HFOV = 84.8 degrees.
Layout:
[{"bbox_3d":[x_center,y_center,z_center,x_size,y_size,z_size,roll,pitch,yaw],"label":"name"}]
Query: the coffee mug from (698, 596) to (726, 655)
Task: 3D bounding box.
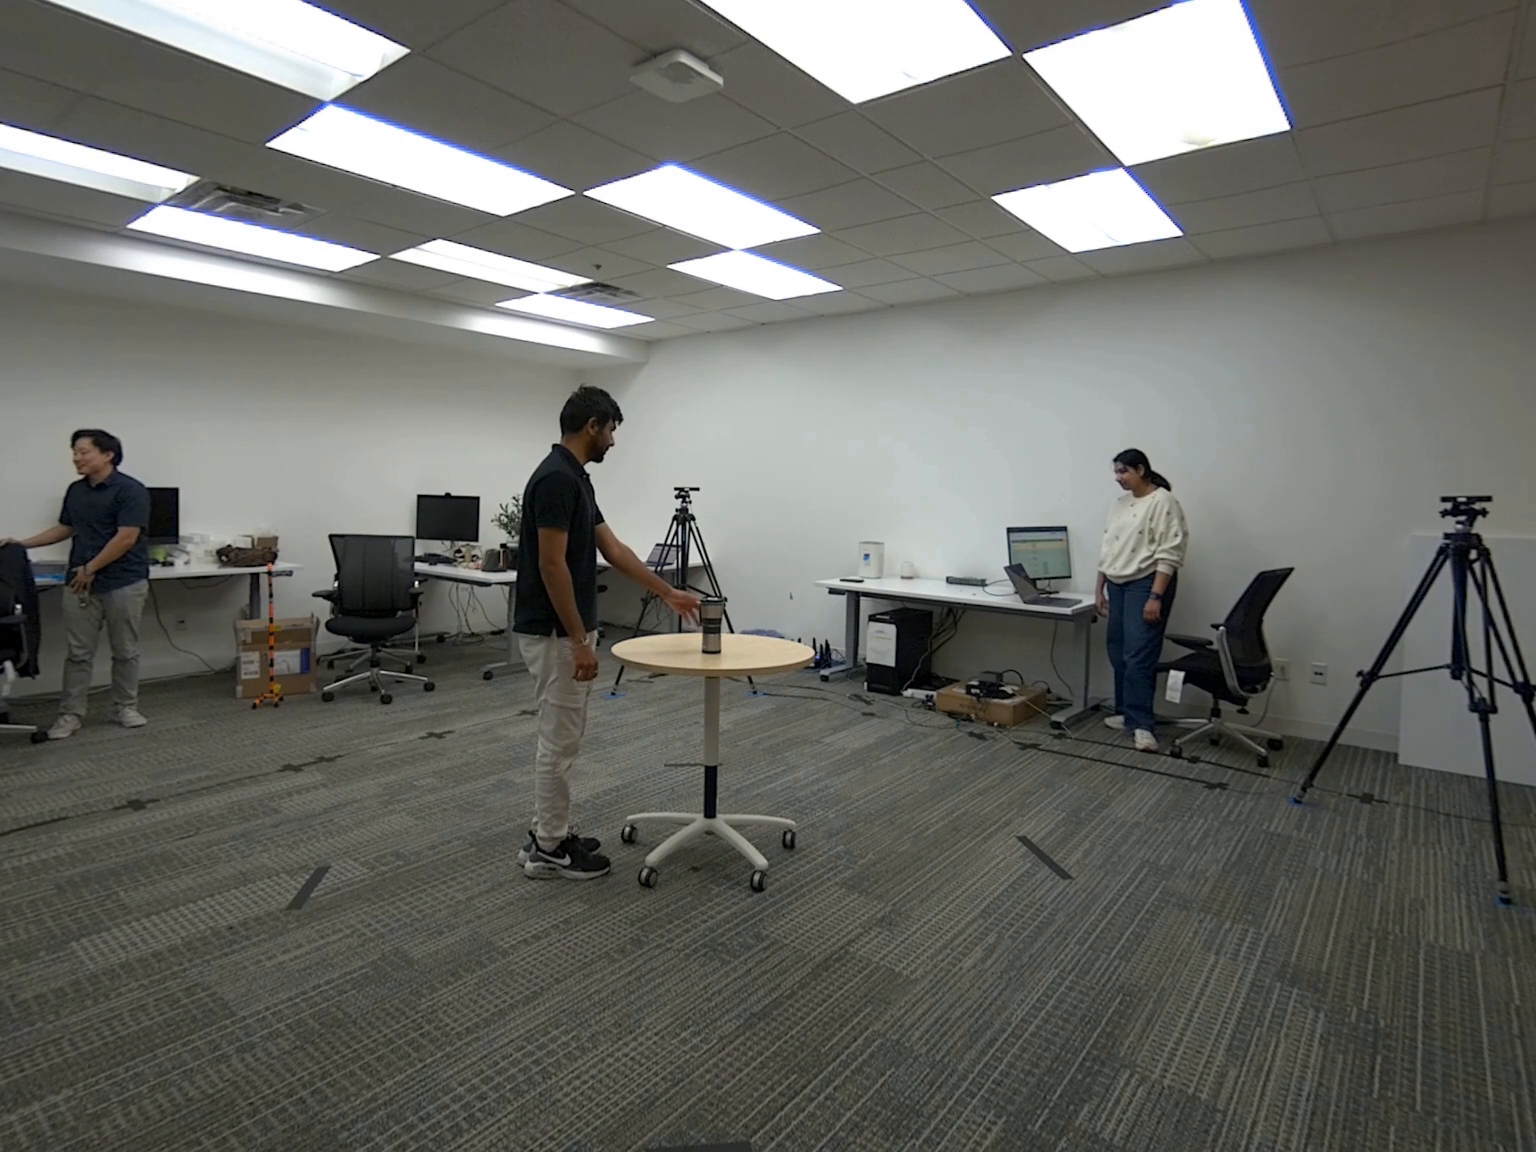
[{"bbox_3d":[-0.207,0.183,3.143,0.091,0.202,0.119,1,7,45],"label":"coffee mug"}]
